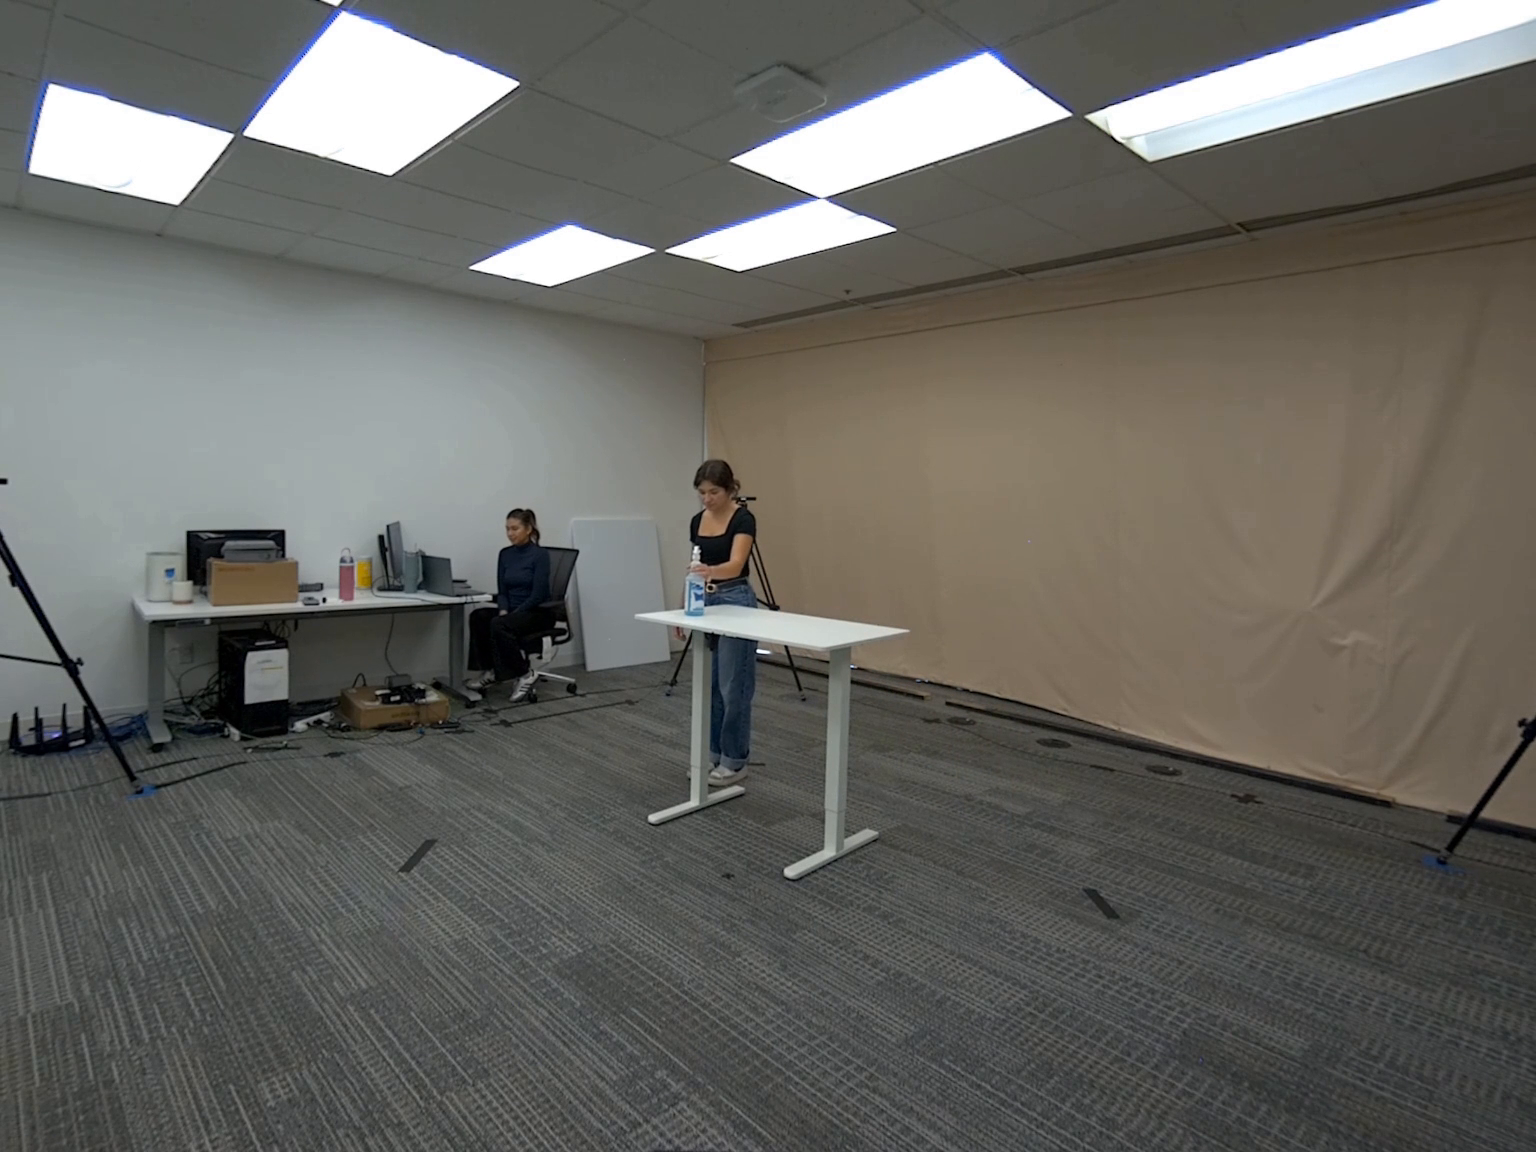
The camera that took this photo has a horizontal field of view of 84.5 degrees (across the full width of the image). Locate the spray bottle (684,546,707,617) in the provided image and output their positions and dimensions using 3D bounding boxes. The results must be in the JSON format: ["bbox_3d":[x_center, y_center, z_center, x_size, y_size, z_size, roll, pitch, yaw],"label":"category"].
[{"bbox_3d":[-0.331,0.019,3.670,0.089,0.298,0.088,0,-3,25],"label":"spray bottle"}]
